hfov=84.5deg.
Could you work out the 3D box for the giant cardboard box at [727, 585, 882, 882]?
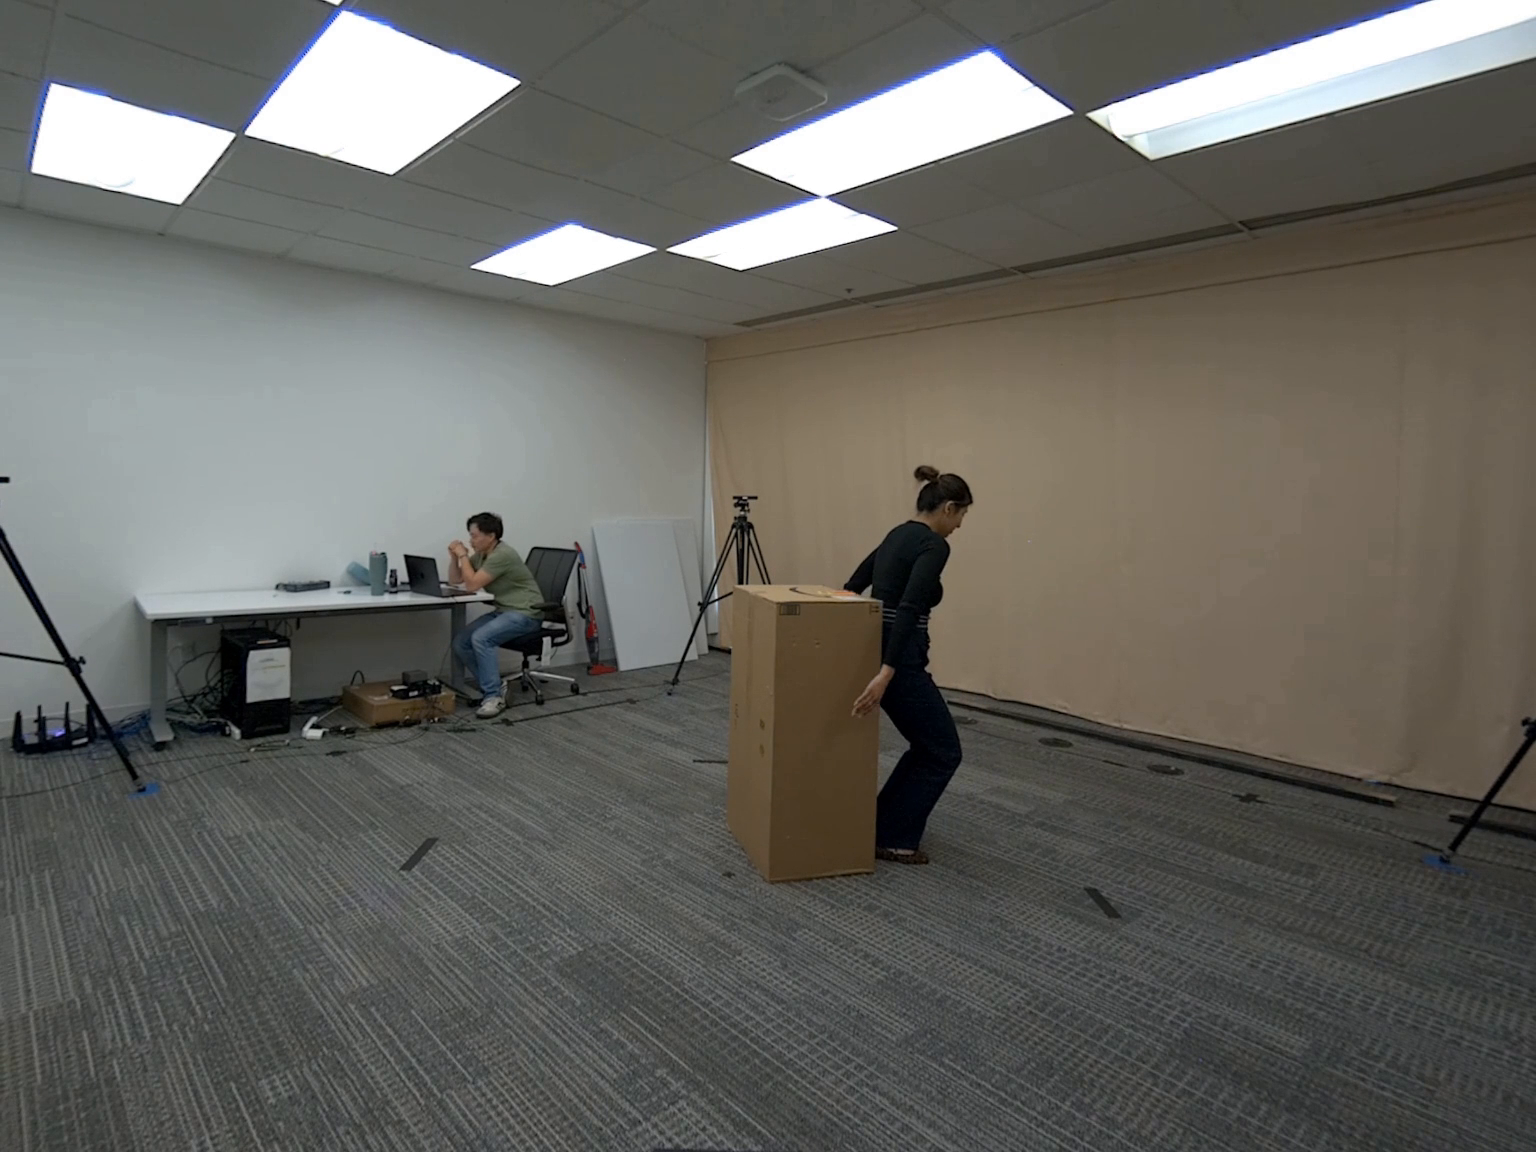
[{"bbox_3d":[0.118,0.577,3.339,0.420,1.024,0.586,1,3,-18],"label":"giant cardboard box"}]
